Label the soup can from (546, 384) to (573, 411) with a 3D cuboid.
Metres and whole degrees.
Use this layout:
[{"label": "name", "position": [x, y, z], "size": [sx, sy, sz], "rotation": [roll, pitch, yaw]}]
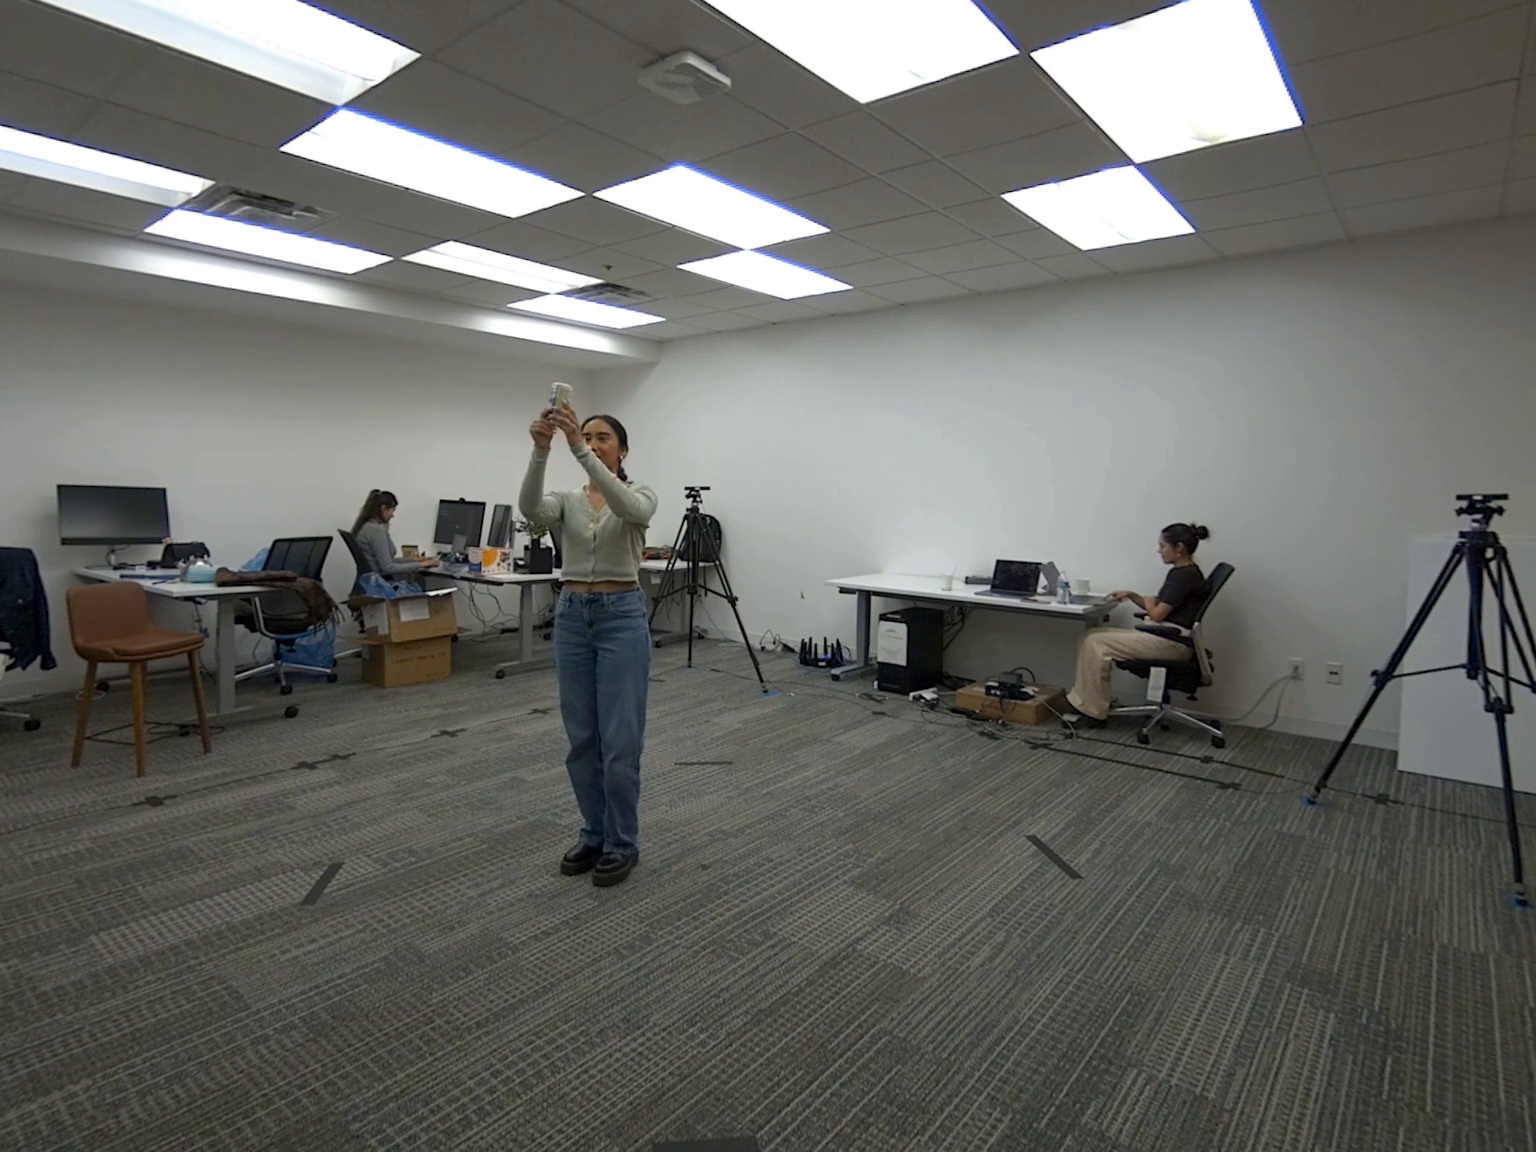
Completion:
[{"label": "soup can", "position": [-0.689, -0.561, 2.767], "size": [0.067, 0.122, 0.067], "rotation": [3, -4, -2]}]
